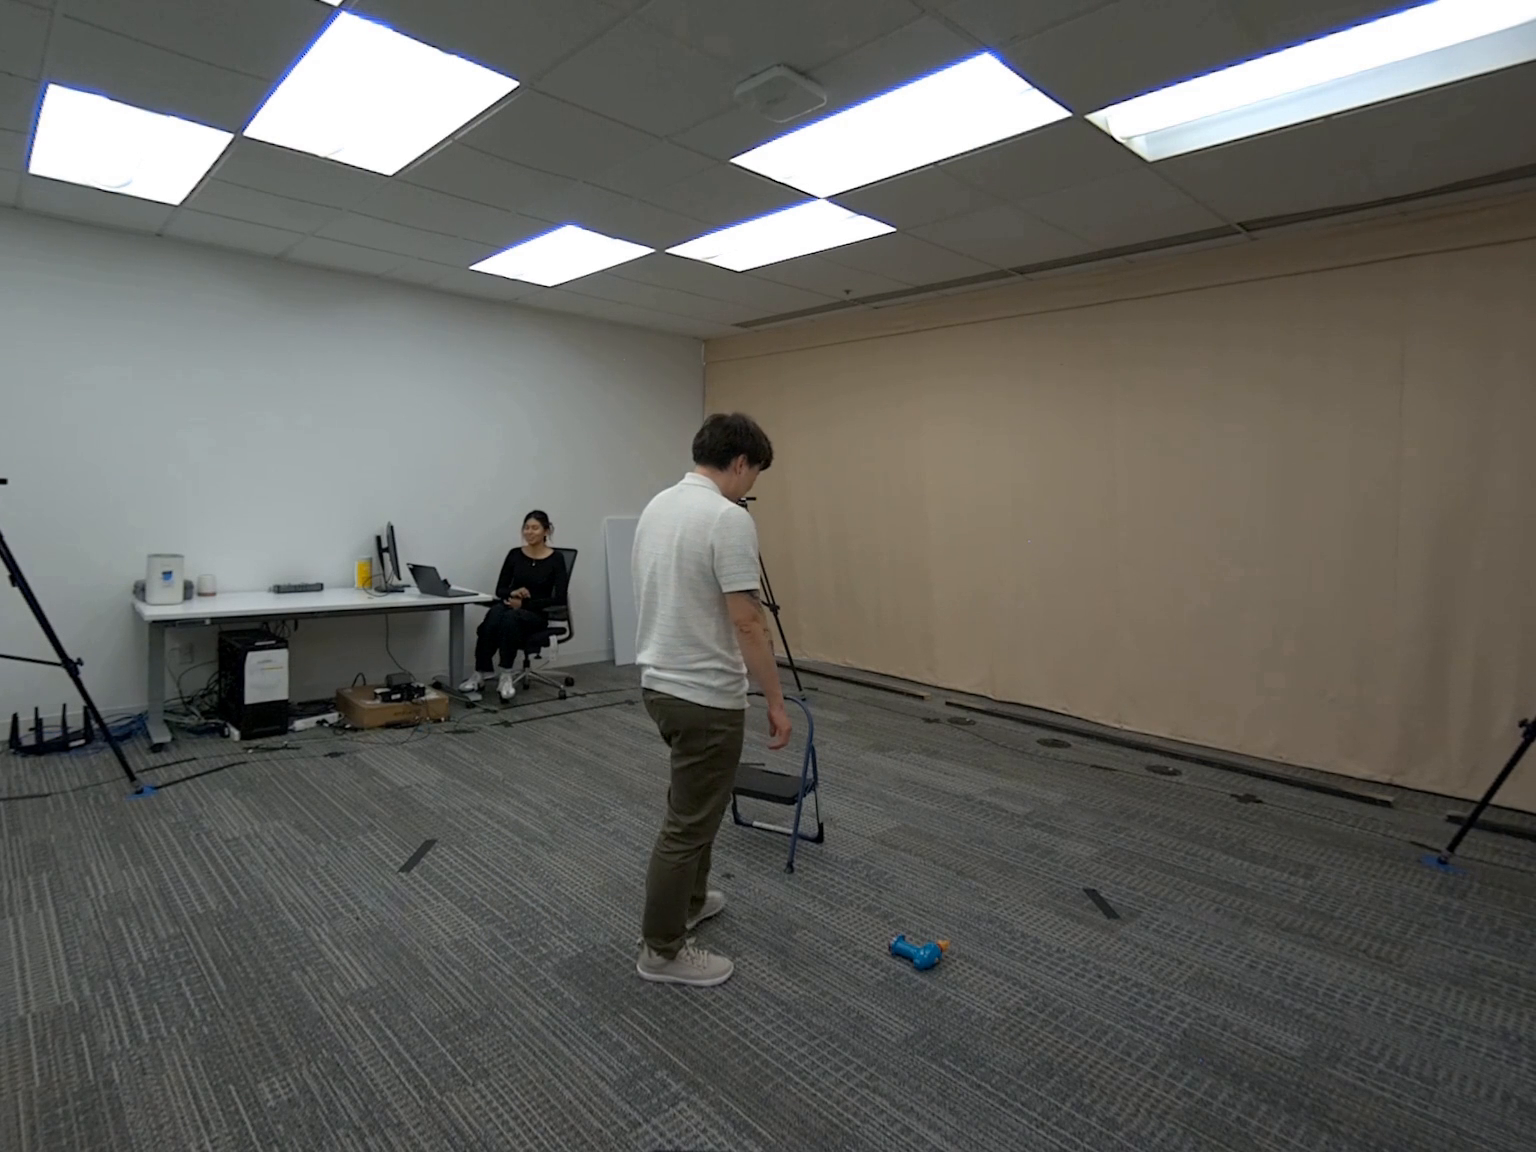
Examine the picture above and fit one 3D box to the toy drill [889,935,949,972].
[{"bbox_3d":[0.468,1.143,2.567,0.166,0.061,0.150,-10,10,-39],"label":"toy drill"}]
